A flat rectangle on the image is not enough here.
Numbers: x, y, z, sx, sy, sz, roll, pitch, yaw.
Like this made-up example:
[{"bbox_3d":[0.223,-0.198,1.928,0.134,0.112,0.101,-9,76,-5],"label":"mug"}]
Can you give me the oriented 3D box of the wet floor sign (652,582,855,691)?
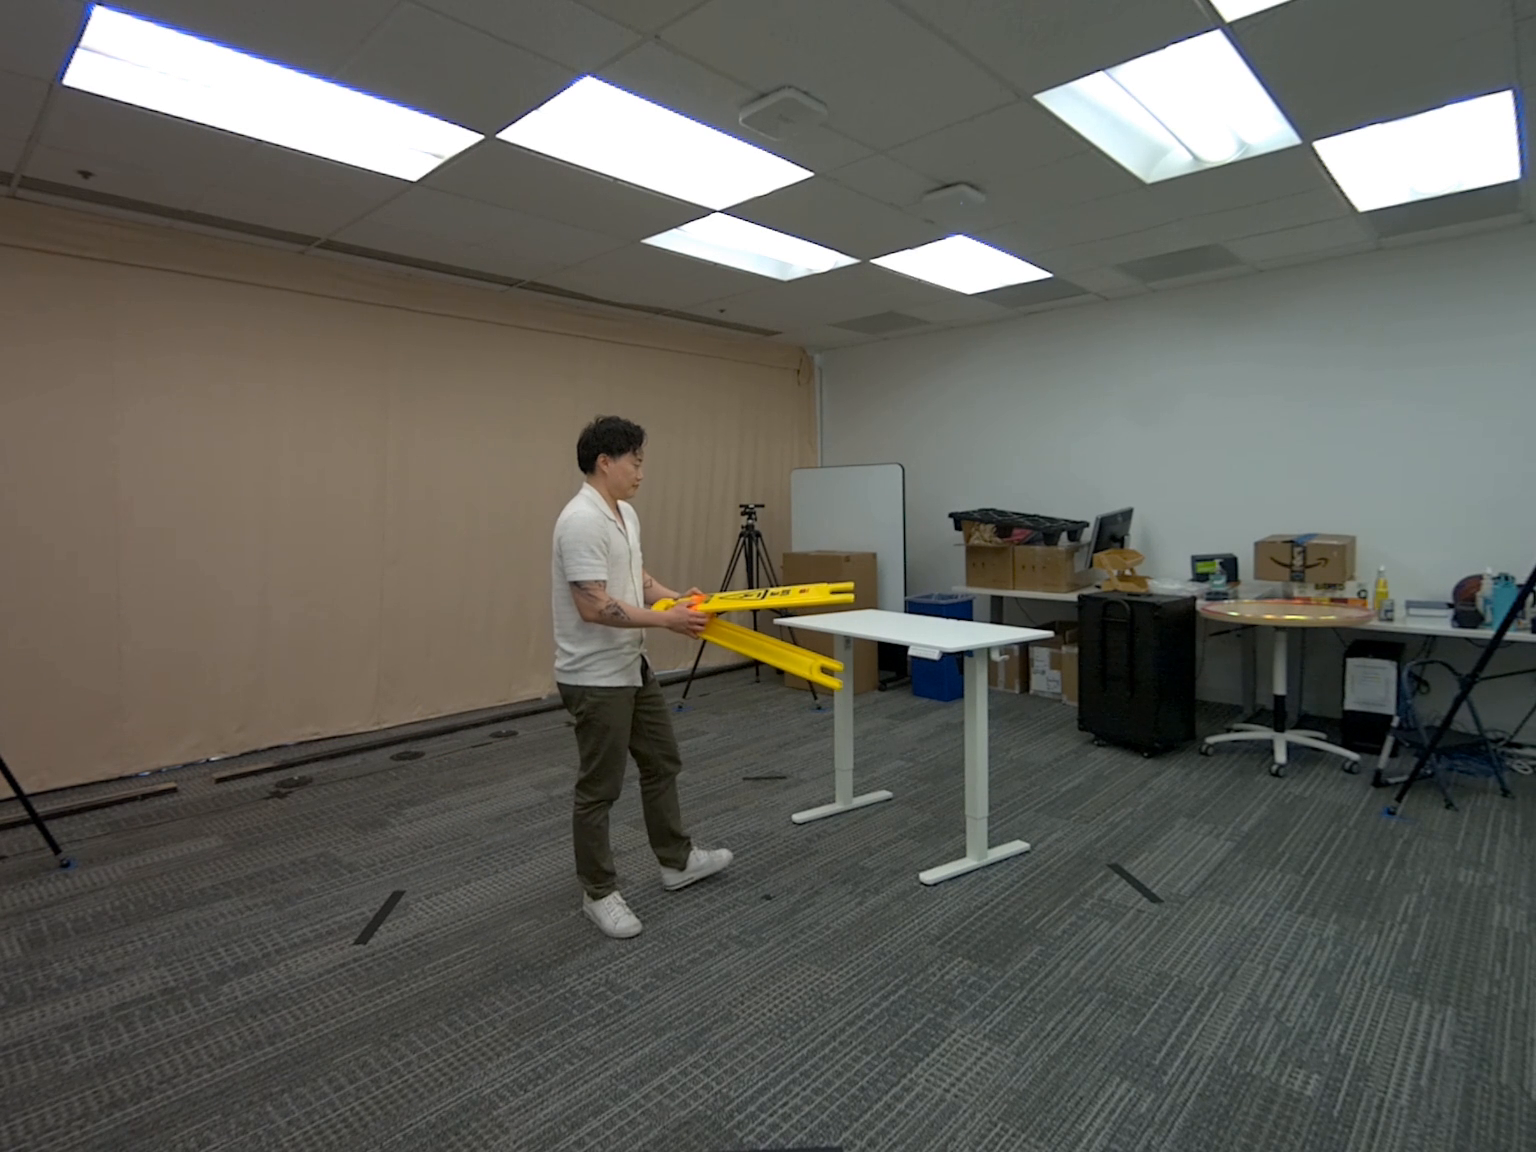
[{"bbox_3d":[-0.052,0.145,2.765,0.654,0.288,0.280,8,10,10],"label":"wet floor sign"}]
